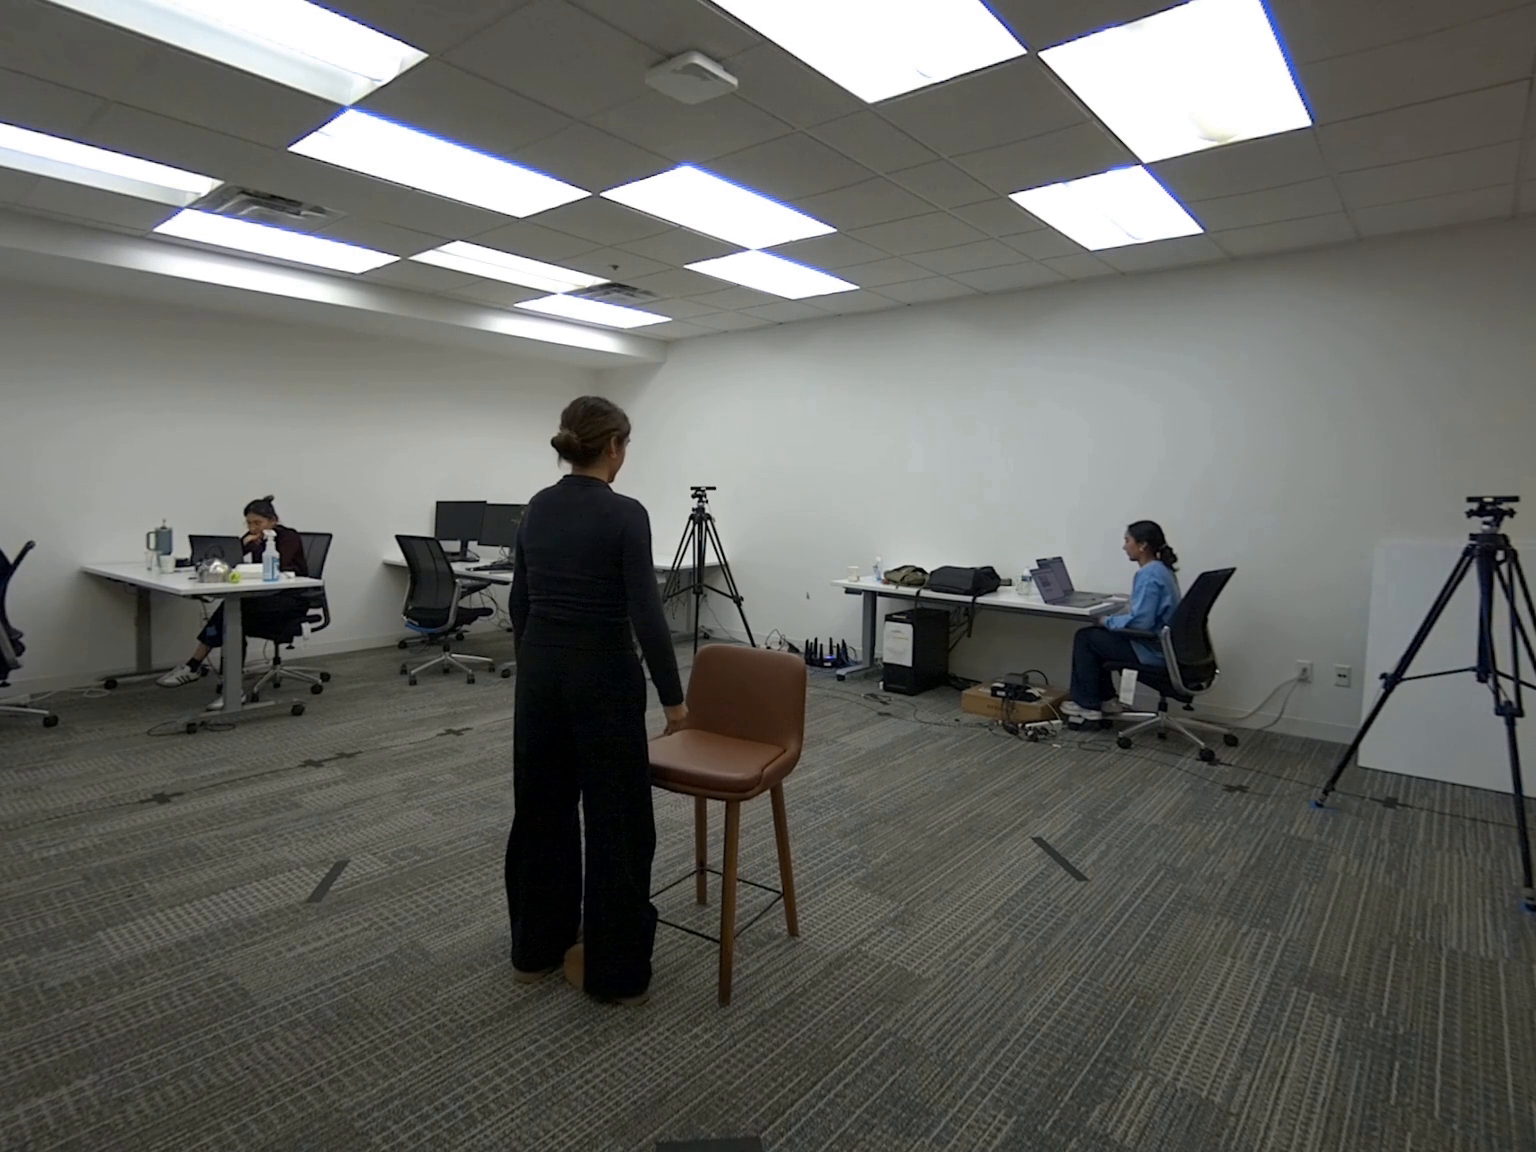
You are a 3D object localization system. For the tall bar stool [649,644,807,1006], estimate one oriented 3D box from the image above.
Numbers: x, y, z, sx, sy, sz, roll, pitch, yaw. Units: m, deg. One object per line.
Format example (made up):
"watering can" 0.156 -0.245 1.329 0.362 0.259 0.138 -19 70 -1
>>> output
"tall bar stool" -0.169 0.687 2.551 0.470 0.888 0.454 3 3 32
